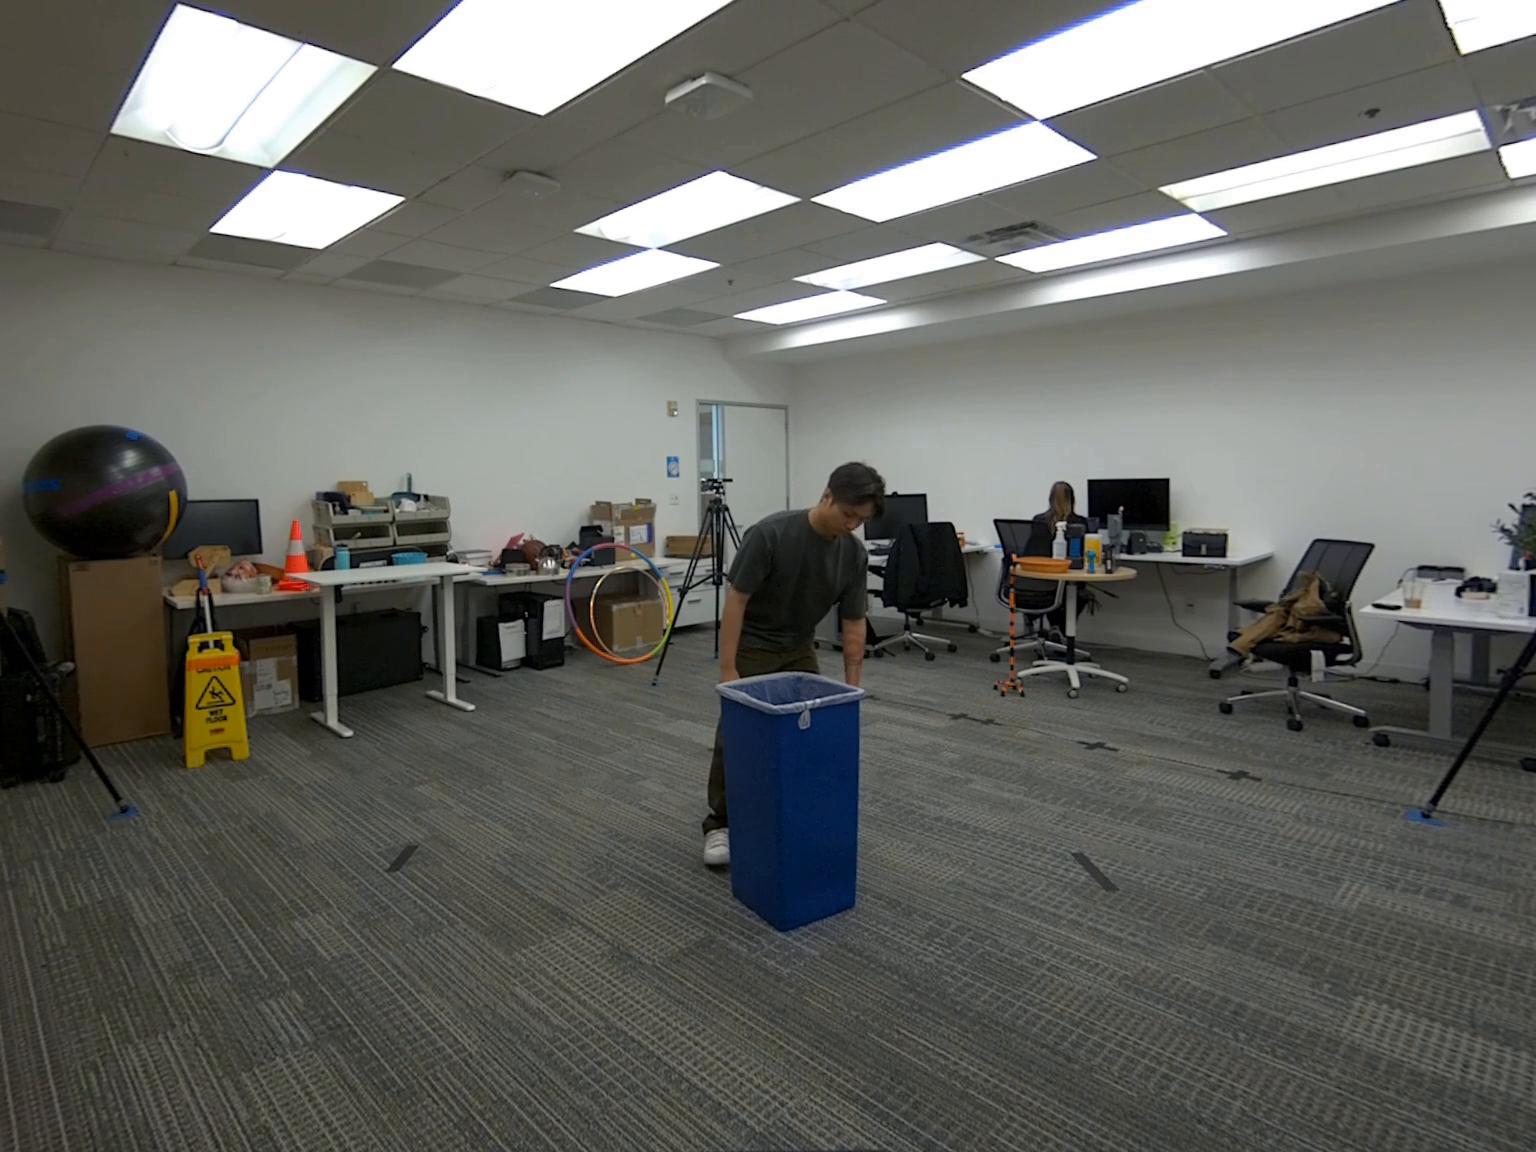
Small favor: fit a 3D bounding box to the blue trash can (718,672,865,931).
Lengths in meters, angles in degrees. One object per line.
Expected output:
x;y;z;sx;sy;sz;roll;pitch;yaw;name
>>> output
0.072;0.723;2.801;0.364;0.712;0.389;-3;4;-35;blue trash can
